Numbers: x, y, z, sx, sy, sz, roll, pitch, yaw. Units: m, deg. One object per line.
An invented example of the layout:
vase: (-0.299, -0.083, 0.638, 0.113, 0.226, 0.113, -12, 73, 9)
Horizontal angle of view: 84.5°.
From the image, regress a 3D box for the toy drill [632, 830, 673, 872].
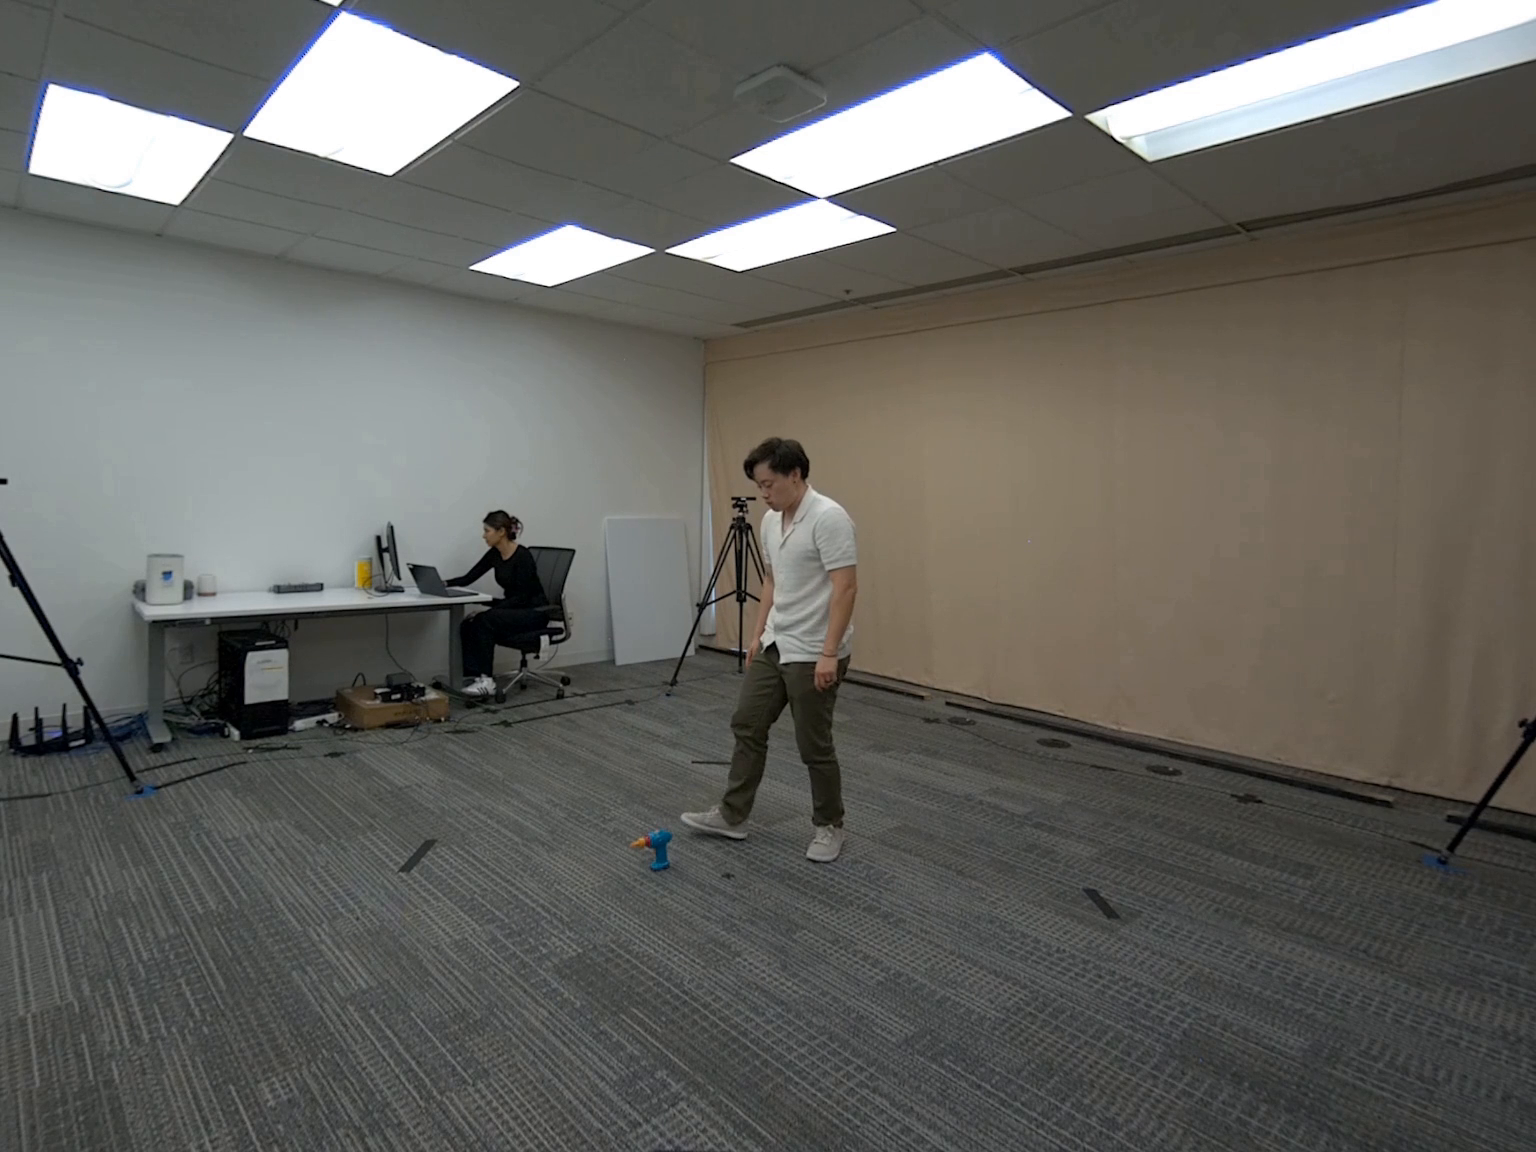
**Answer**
toy drill: (-0.443, 1.025, 3.131, 0.166, 0.145, 0.062, -3, 5, -34)
